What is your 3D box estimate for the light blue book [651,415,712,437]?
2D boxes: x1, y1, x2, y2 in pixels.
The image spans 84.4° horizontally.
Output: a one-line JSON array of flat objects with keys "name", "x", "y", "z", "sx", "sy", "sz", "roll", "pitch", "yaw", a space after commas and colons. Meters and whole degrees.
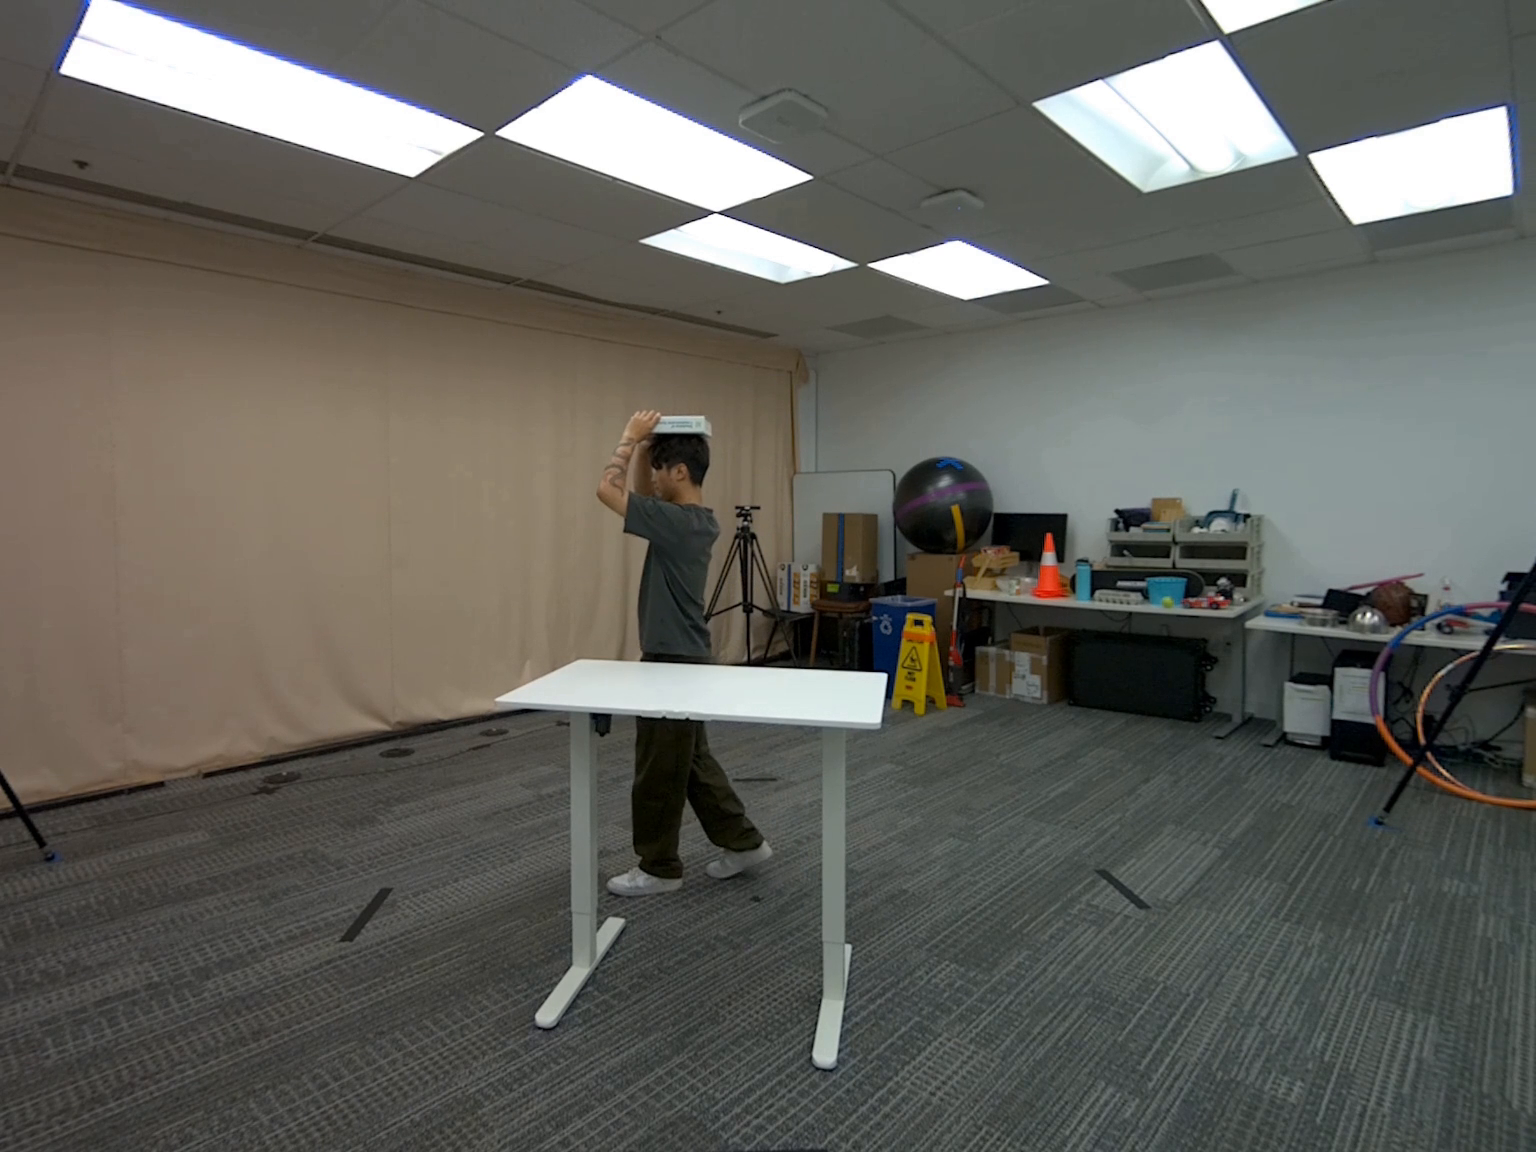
[{"name": "light blue book", "x": -0.337, "y": -0.538, "z": 3.026, "sx": 0.264, "sy": 0.059, "sz": 0.189, "roll": 1, "pitch": 2, "yaw": 10}]
